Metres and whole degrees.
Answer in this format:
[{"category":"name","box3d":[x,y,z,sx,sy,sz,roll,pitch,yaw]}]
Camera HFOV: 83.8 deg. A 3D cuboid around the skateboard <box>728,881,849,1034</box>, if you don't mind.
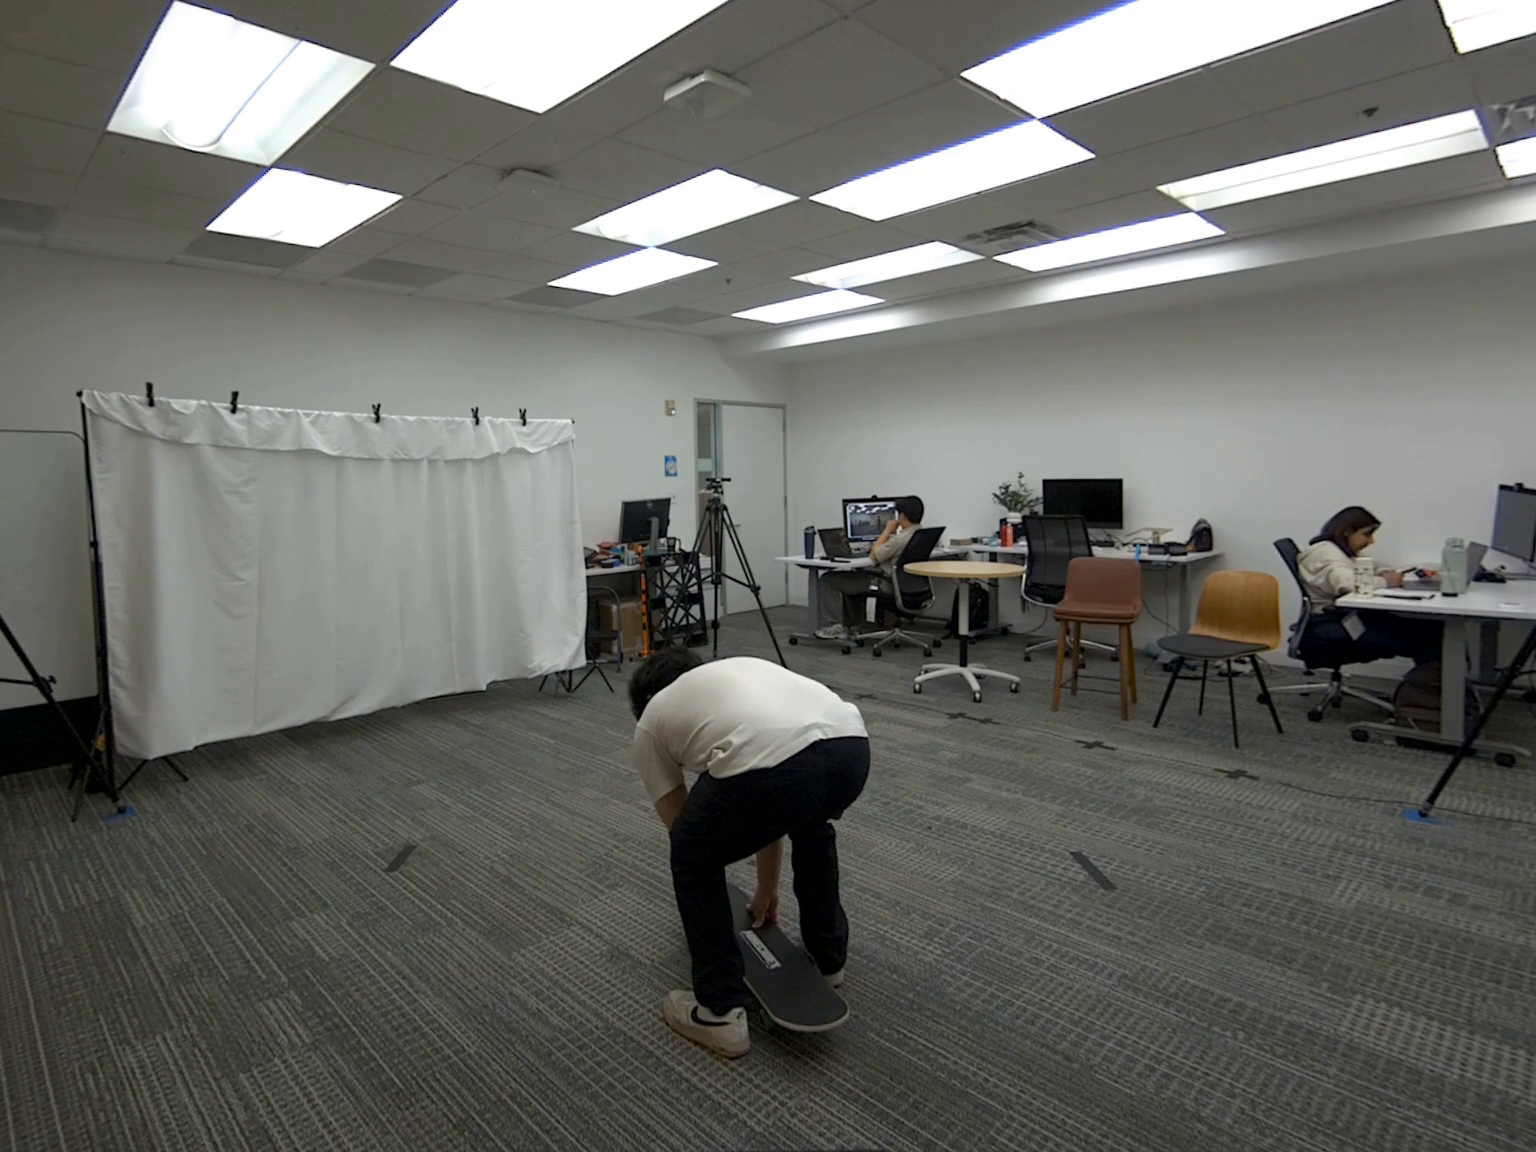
[{"category":"skateboard","box3d":[-0.009,1.079,2.383,0.190,0.110,0.805,-5,8,-24]}]
